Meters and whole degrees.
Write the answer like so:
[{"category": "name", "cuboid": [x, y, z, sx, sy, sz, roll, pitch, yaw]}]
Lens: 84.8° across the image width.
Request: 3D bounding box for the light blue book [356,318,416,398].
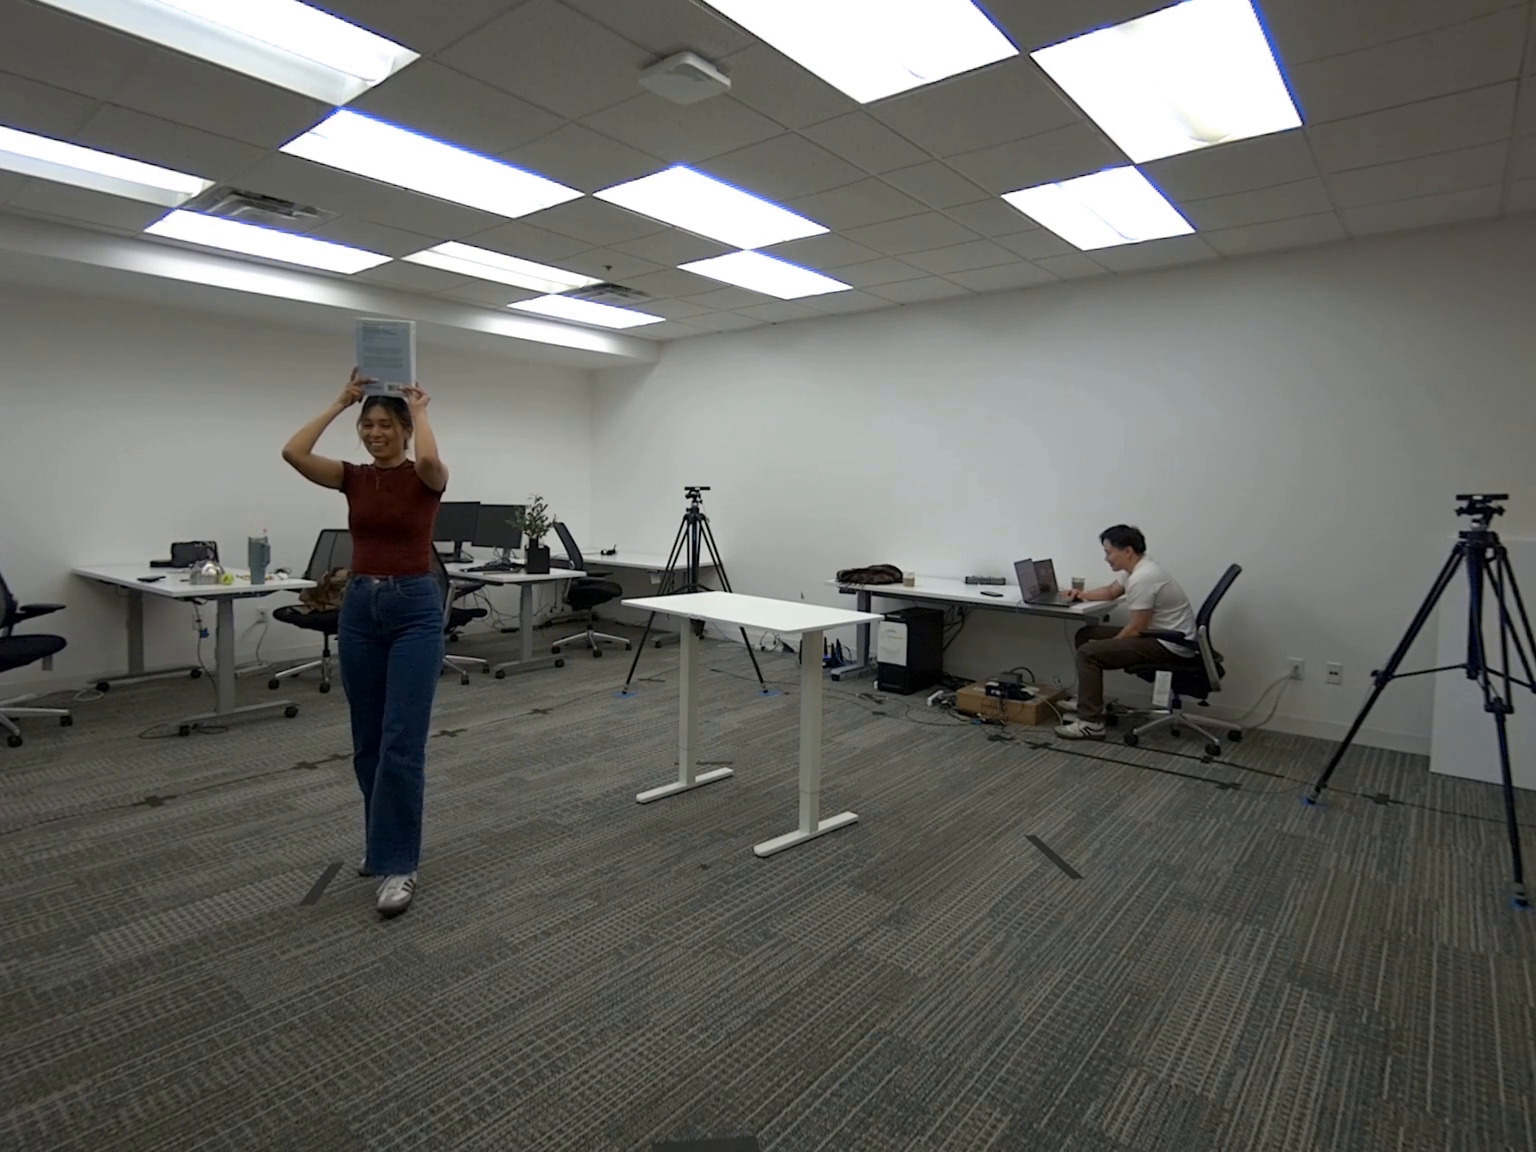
[{"category": "light blue book", "cuboid": [-1.356, -0.765, 2.975, 0.191, 0.258, 0.060, 5, 13, -3]}]
